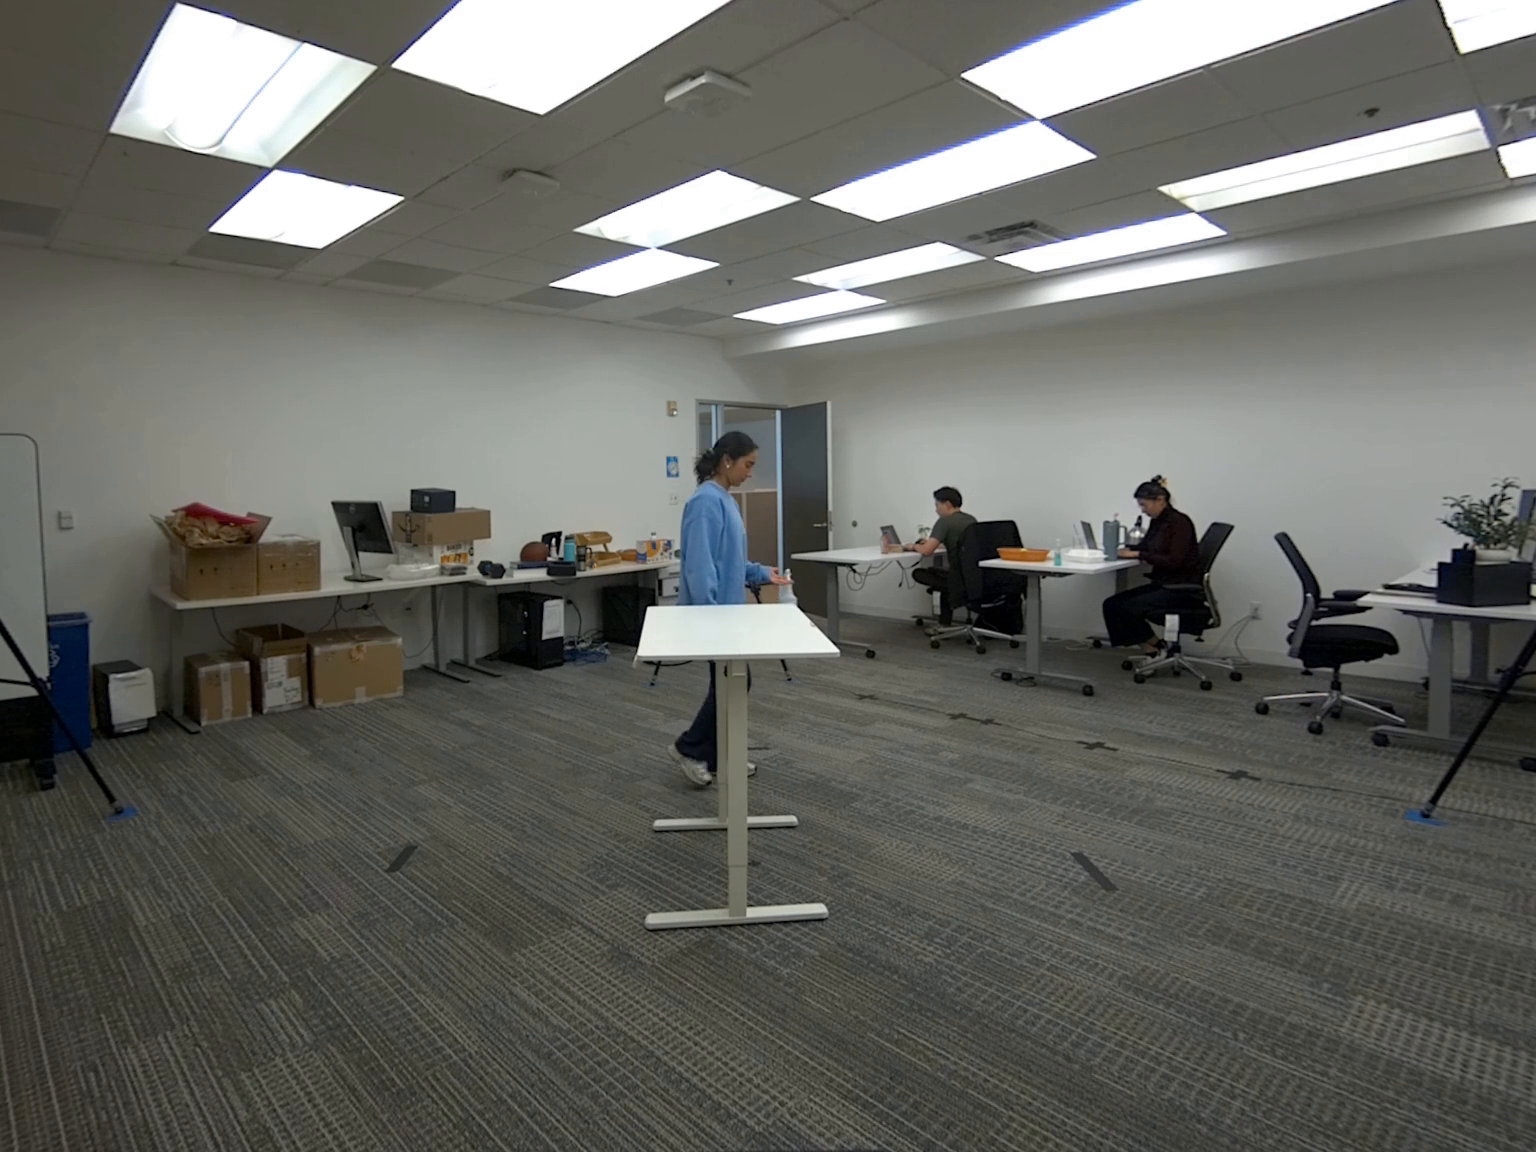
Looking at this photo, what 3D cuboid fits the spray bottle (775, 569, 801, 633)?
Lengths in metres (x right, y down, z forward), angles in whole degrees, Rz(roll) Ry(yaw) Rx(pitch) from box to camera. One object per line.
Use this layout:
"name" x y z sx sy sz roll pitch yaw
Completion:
"spray bottle" 0.092 0.120 4.150 0.088 0.299 0.088 -6 -7 17
